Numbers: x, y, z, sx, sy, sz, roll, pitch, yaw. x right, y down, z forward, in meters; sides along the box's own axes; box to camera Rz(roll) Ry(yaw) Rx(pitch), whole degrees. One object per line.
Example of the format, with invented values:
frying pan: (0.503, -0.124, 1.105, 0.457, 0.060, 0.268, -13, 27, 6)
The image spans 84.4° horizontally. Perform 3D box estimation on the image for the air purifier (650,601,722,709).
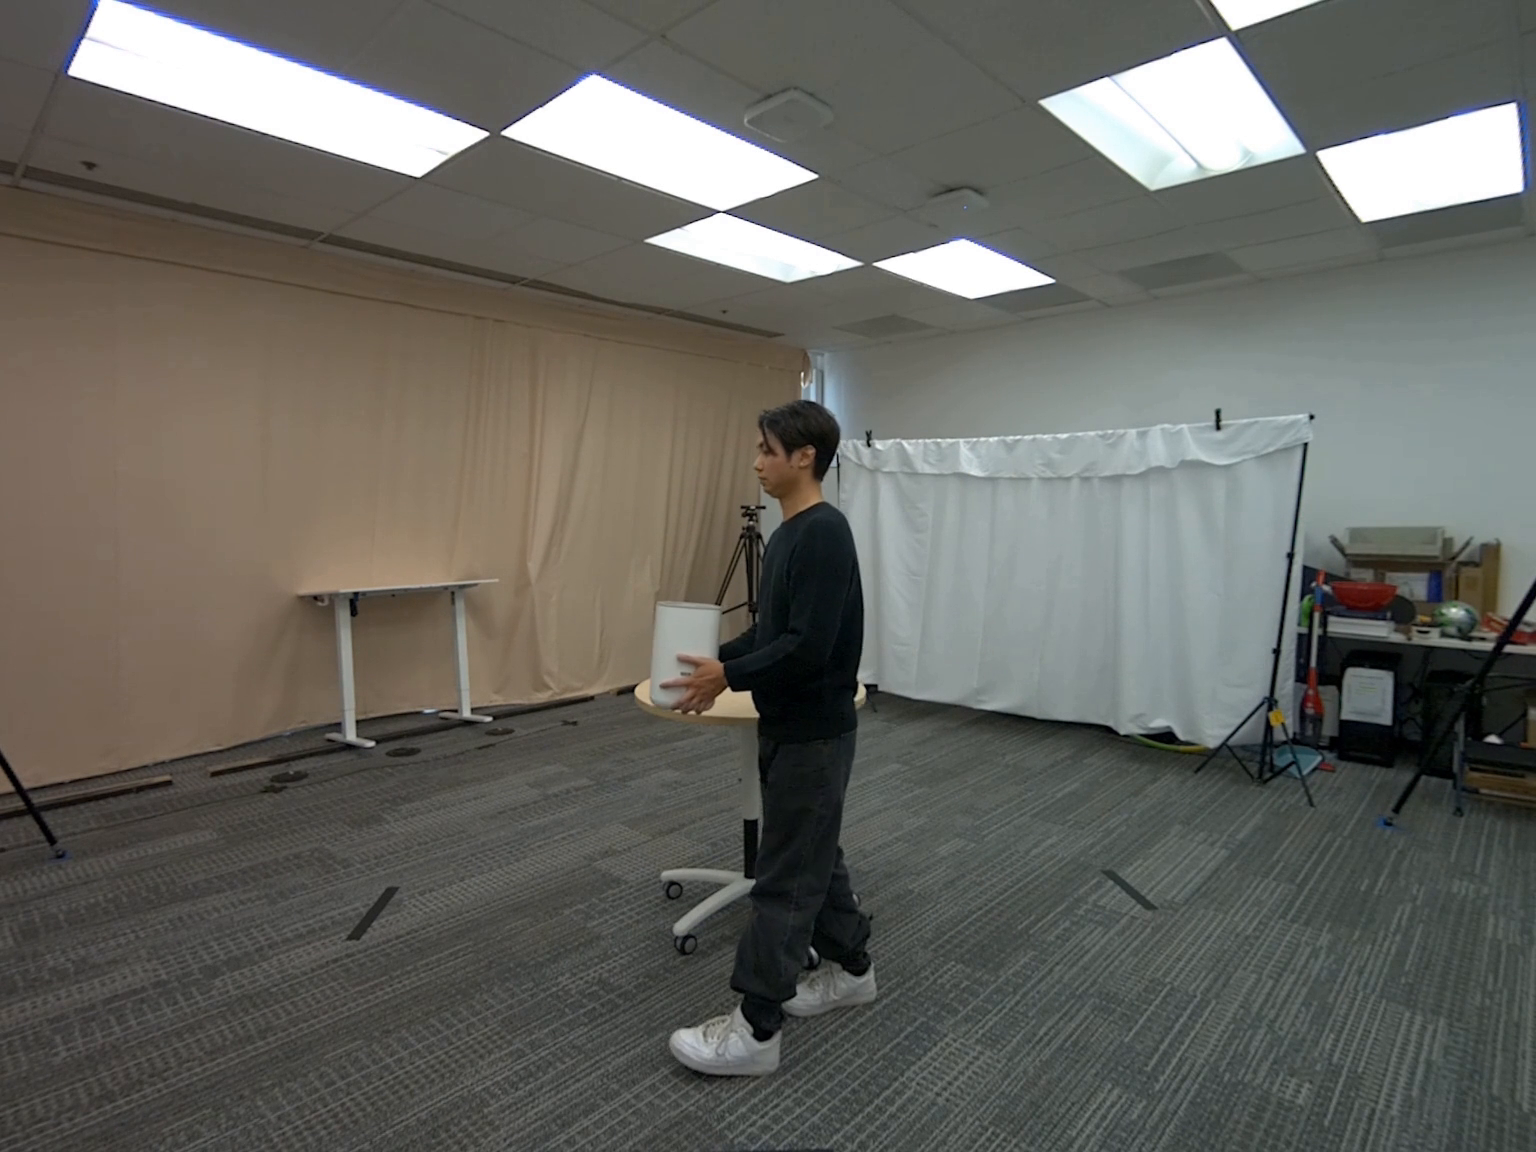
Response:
air purifier: (-0.207, 0.208, 2.179, 0.170, 0.265, 0.172, 6, 0, -5)
